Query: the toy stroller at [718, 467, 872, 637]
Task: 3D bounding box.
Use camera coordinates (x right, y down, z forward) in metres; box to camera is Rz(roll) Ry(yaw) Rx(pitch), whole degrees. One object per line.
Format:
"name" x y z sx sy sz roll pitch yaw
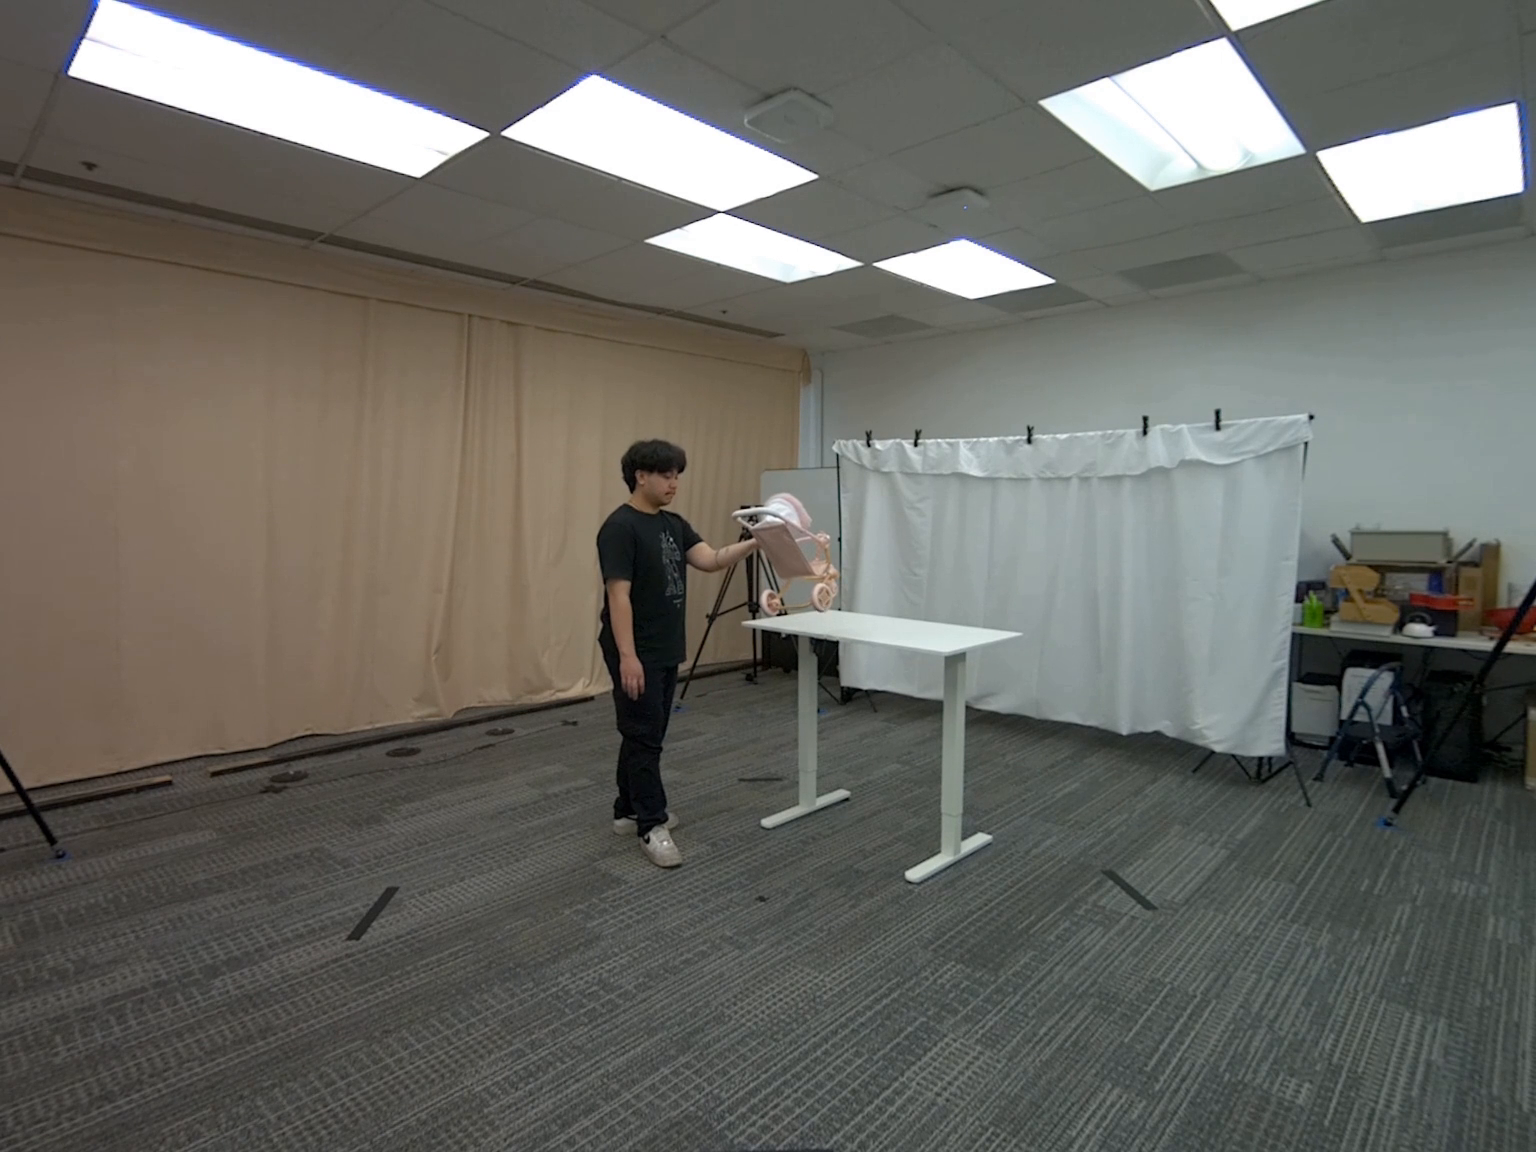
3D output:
"toy stroller" 0.111 -0.089 3.299 0.290 0.527 0.336 -8 21 44
